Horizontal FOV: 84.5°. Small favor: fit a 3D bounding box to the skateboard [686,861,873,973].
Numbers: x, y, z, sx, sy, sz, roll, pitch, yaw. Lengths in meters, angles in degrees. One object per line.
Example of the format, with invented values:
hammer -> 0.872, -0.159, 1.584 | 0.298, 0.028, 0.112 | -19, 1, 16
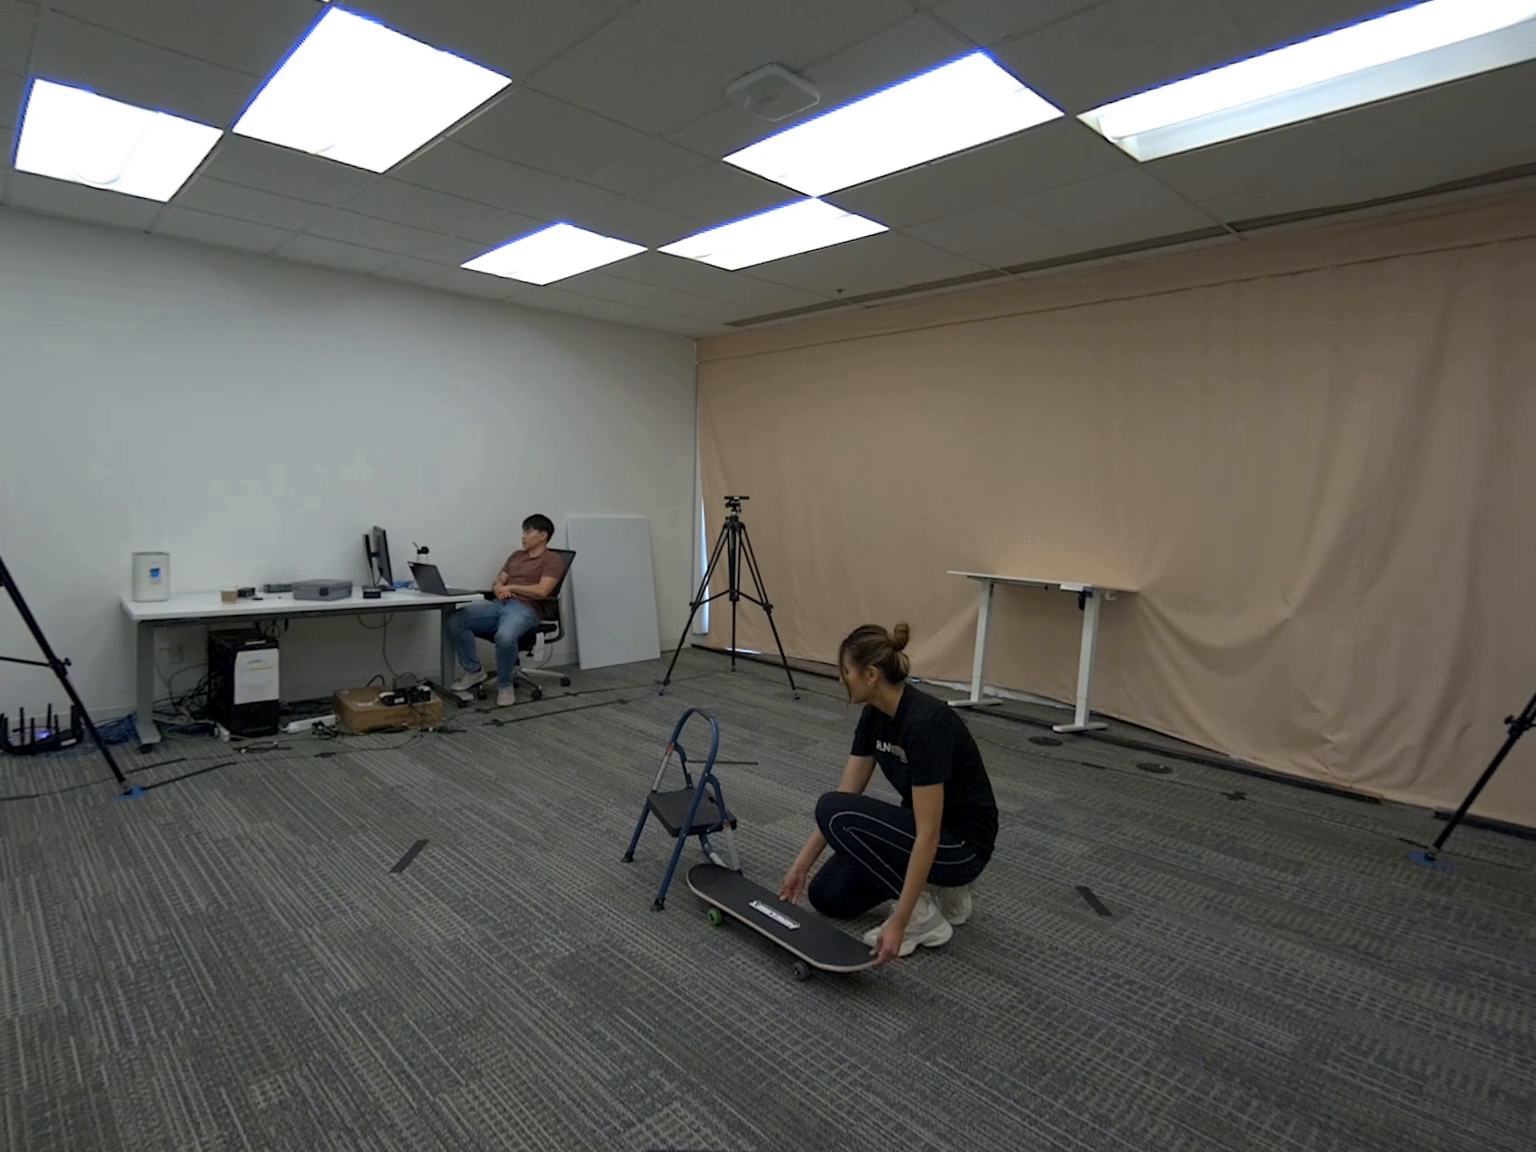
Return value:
skateboard -> 0.006, 1.084, 2.644 | 0.189, 0.110, 0.805 | -4, 6, -42
